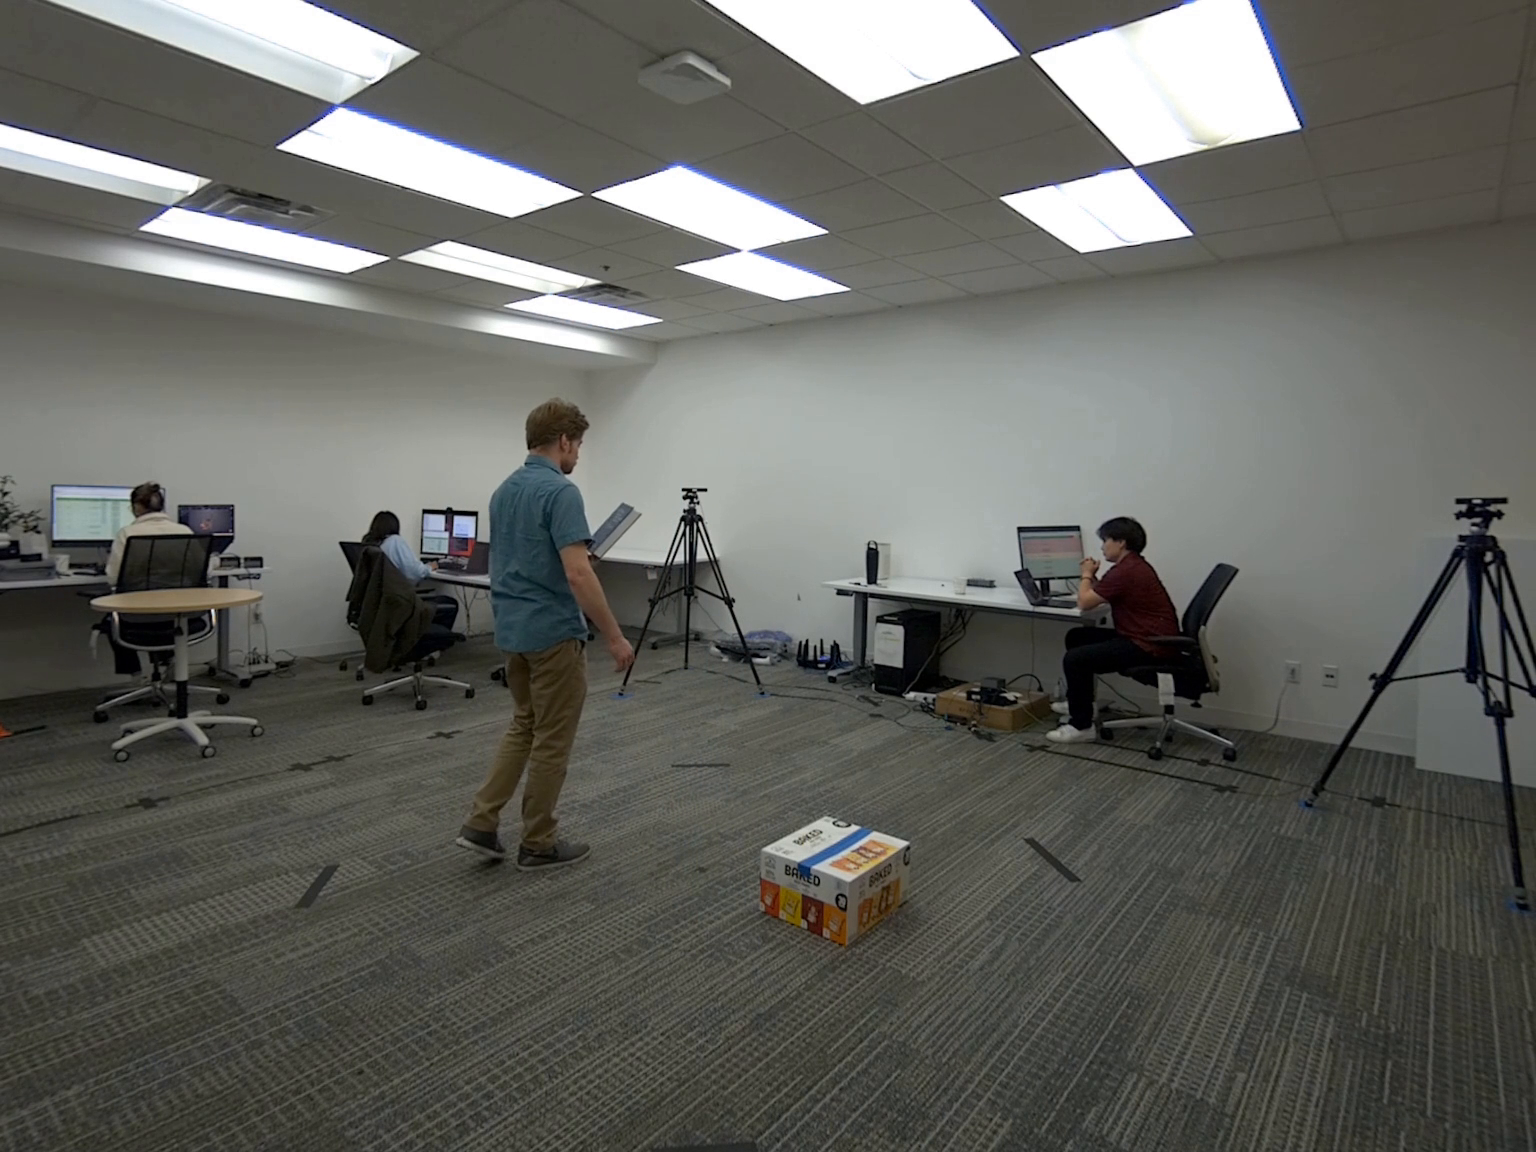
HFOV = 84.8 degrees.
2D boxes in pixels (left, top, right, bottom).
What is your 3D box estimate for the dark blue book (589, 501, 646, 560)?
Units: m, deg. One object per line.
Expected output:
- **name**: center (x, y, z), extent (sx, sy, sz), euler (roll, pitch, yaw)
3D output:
- **dark blue book**: center (-0.626, -0.189, 3.426), extent (0.043, 0.245, 0.169), euler (46, -12, -29)
